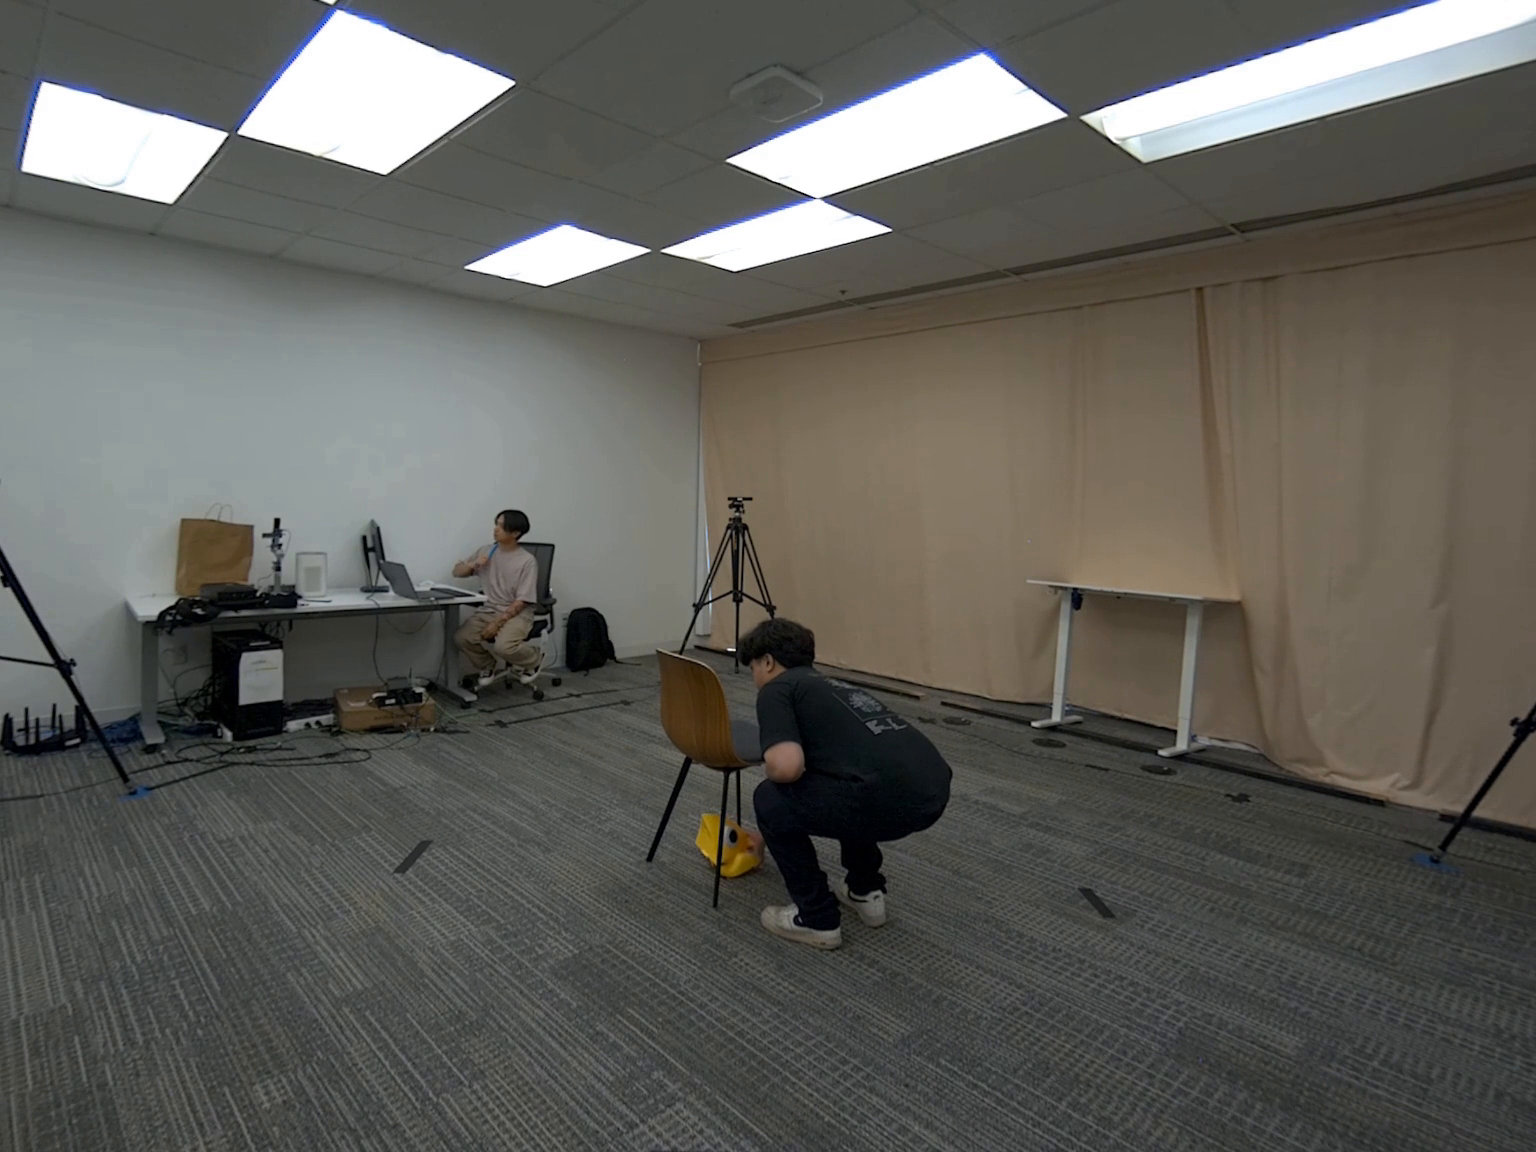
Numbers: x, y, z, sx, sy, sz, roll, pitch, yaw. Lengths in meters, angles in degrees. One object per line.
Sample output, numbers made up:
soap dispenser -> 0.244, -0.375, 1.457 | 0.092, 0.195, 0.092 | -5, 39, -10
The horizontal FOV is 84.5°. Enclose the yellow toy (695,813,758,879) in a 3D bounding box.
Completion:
yellow toy -> -0.169, 0.979, 3.162 | 0.191, 0.228, 0.209 | -19, 12, -22
